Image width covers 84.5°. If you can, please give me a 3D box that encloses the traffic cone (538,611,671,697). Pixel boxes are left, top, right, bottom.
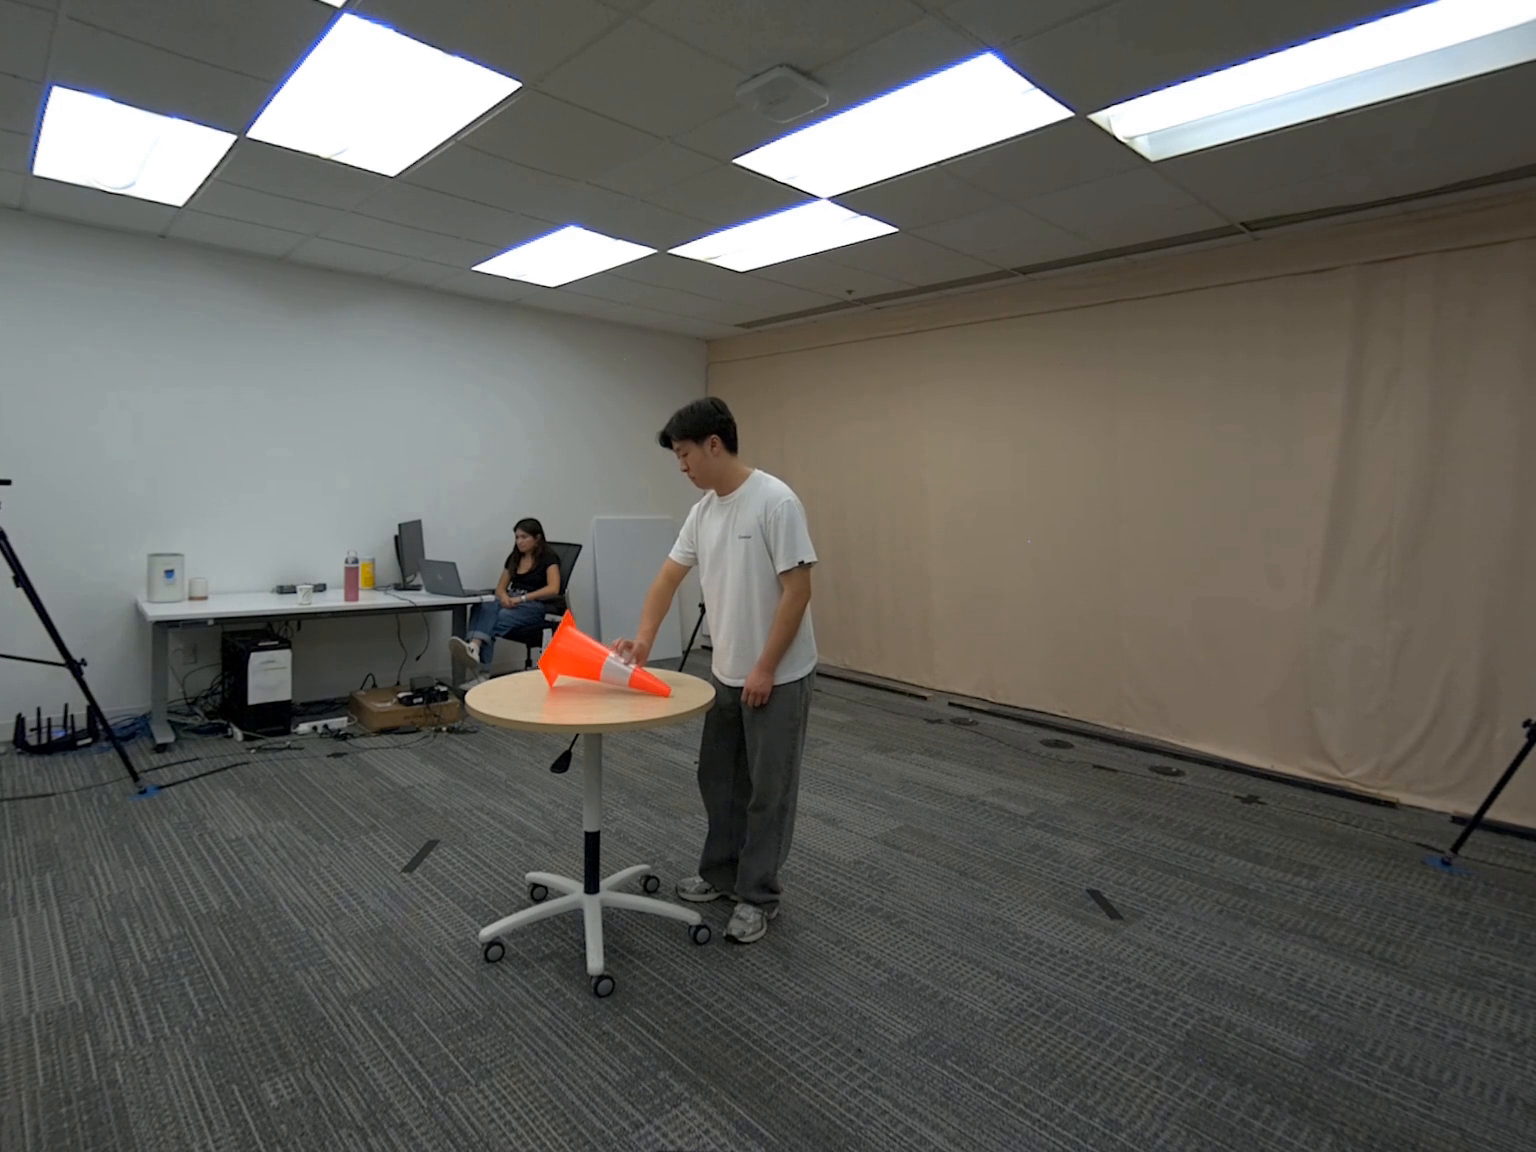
[{"bbox_3d":[-0.479,0.296,2.603,0.386,0.206,0.201,19,-20,4],"label":"traffic cone"}]
